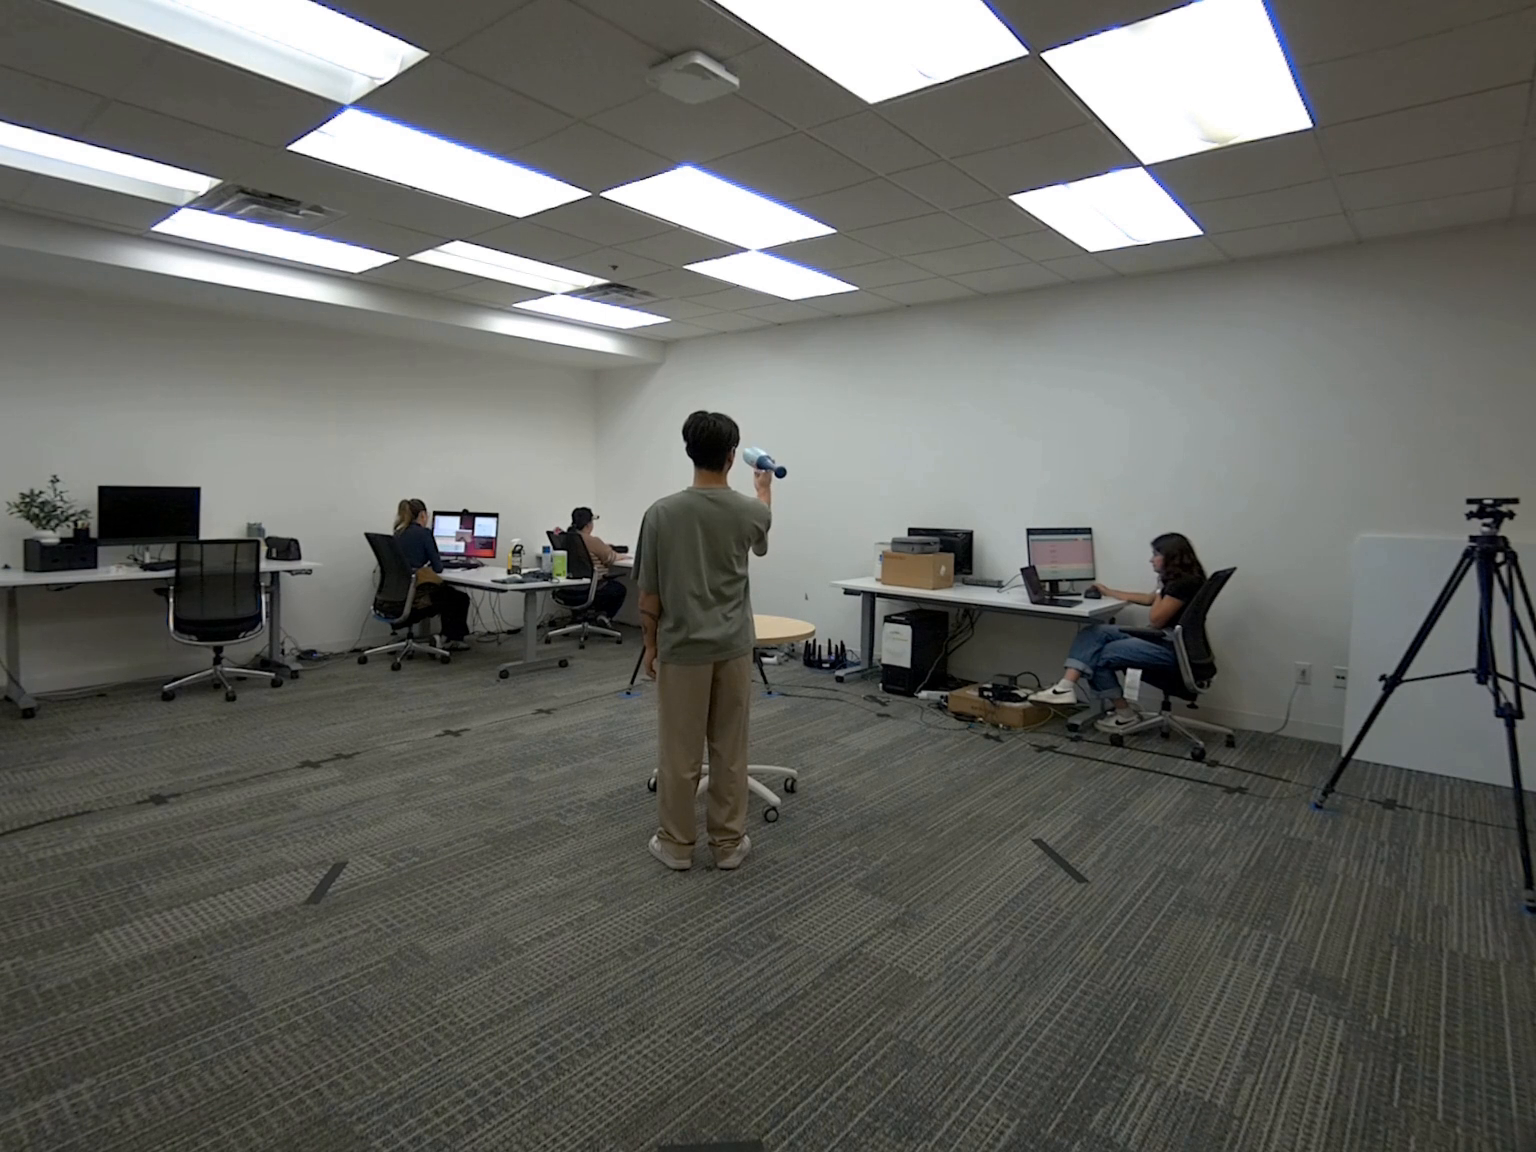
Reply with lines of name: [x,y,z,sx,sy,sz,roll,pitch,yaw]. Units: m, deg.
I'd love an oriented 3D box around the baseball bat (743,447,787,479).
baseball bat: [-0.023,-0.483,3.649,0.088,0.088,0.557,0,16,-14]
